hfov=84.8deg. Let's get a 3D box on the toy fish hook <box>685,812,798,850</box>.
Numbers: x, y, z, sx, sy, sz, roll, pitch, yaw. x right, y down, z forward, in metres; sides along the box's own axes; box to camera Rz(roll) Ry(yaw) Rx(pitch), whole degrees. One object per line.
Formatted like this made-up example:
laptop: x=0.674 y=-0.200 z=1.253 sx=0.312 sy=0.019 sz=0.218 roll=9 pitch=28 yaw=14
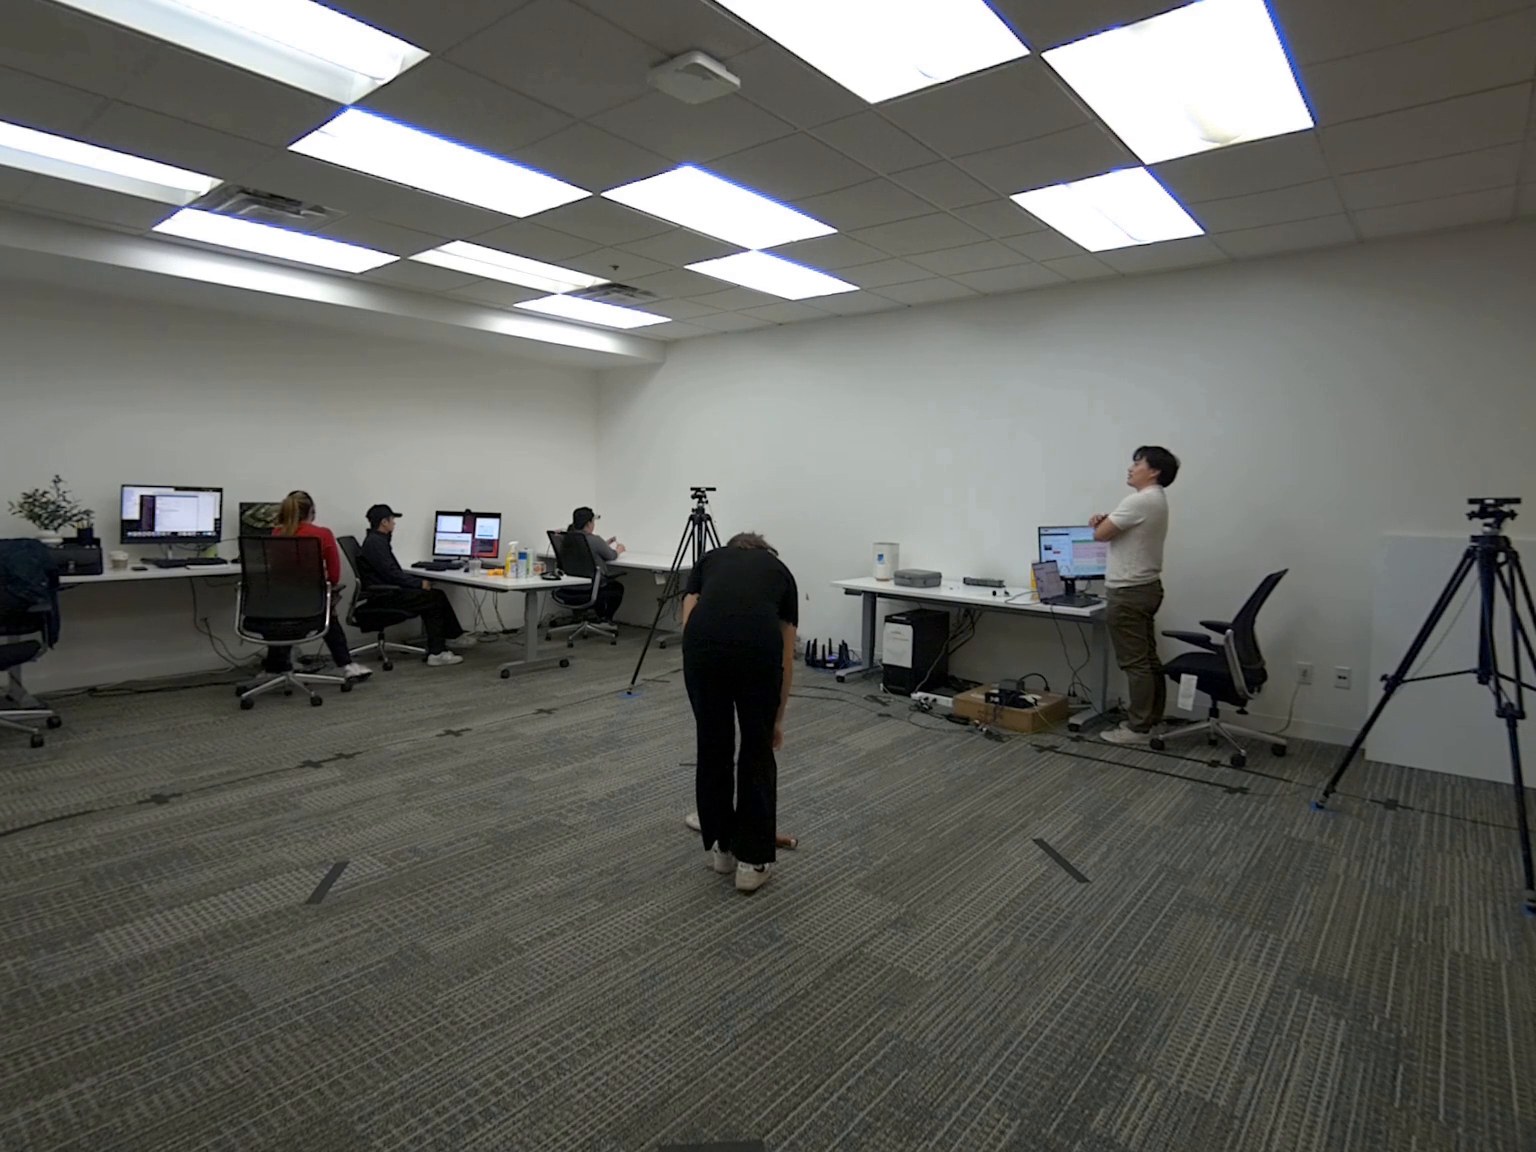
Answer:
toy fish hook: x=-0.099 y=1.006 z=3.446 sx=0.521 sy=0.048 sz=0.219 roll=5 pitch=8 yaw=28
